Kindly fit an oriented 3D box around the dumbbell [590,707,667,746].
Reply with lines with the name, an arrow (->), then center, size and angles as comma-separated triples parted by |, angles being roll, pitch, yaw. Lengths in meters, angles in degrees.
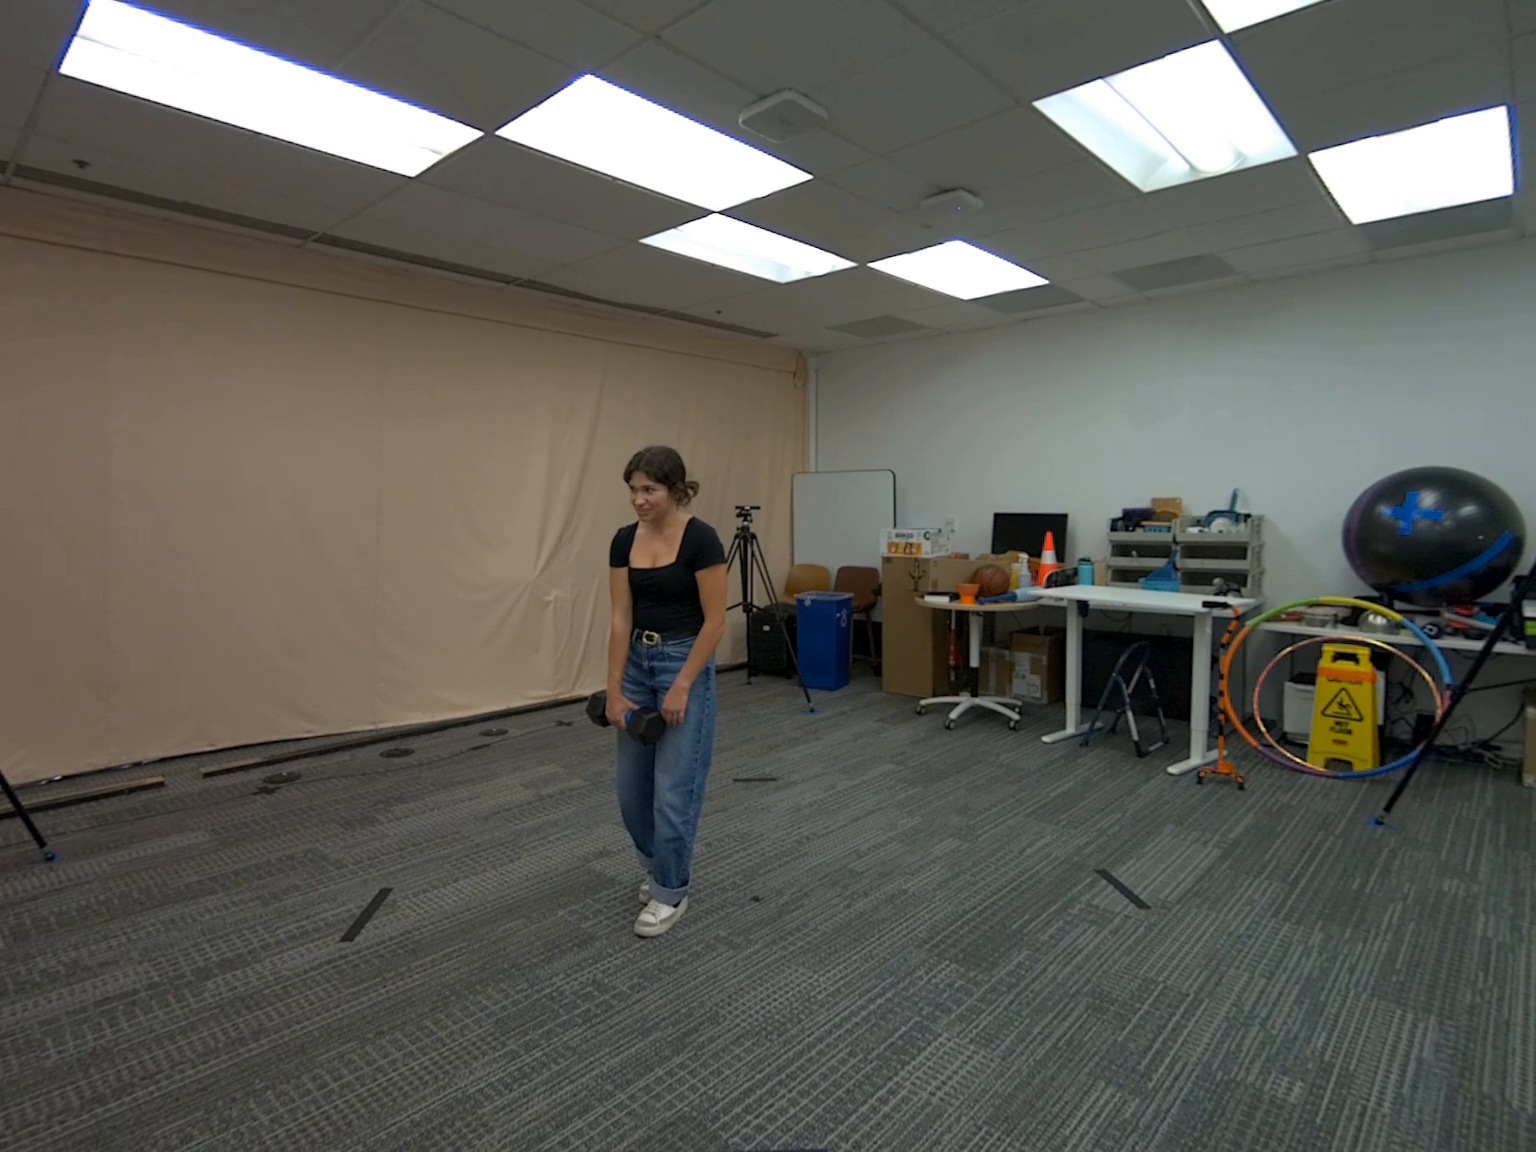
dumbbell -> -0.472, 0.468, 2.806 | 0.304, 0.119, 0.108 | 11, 46, 41
